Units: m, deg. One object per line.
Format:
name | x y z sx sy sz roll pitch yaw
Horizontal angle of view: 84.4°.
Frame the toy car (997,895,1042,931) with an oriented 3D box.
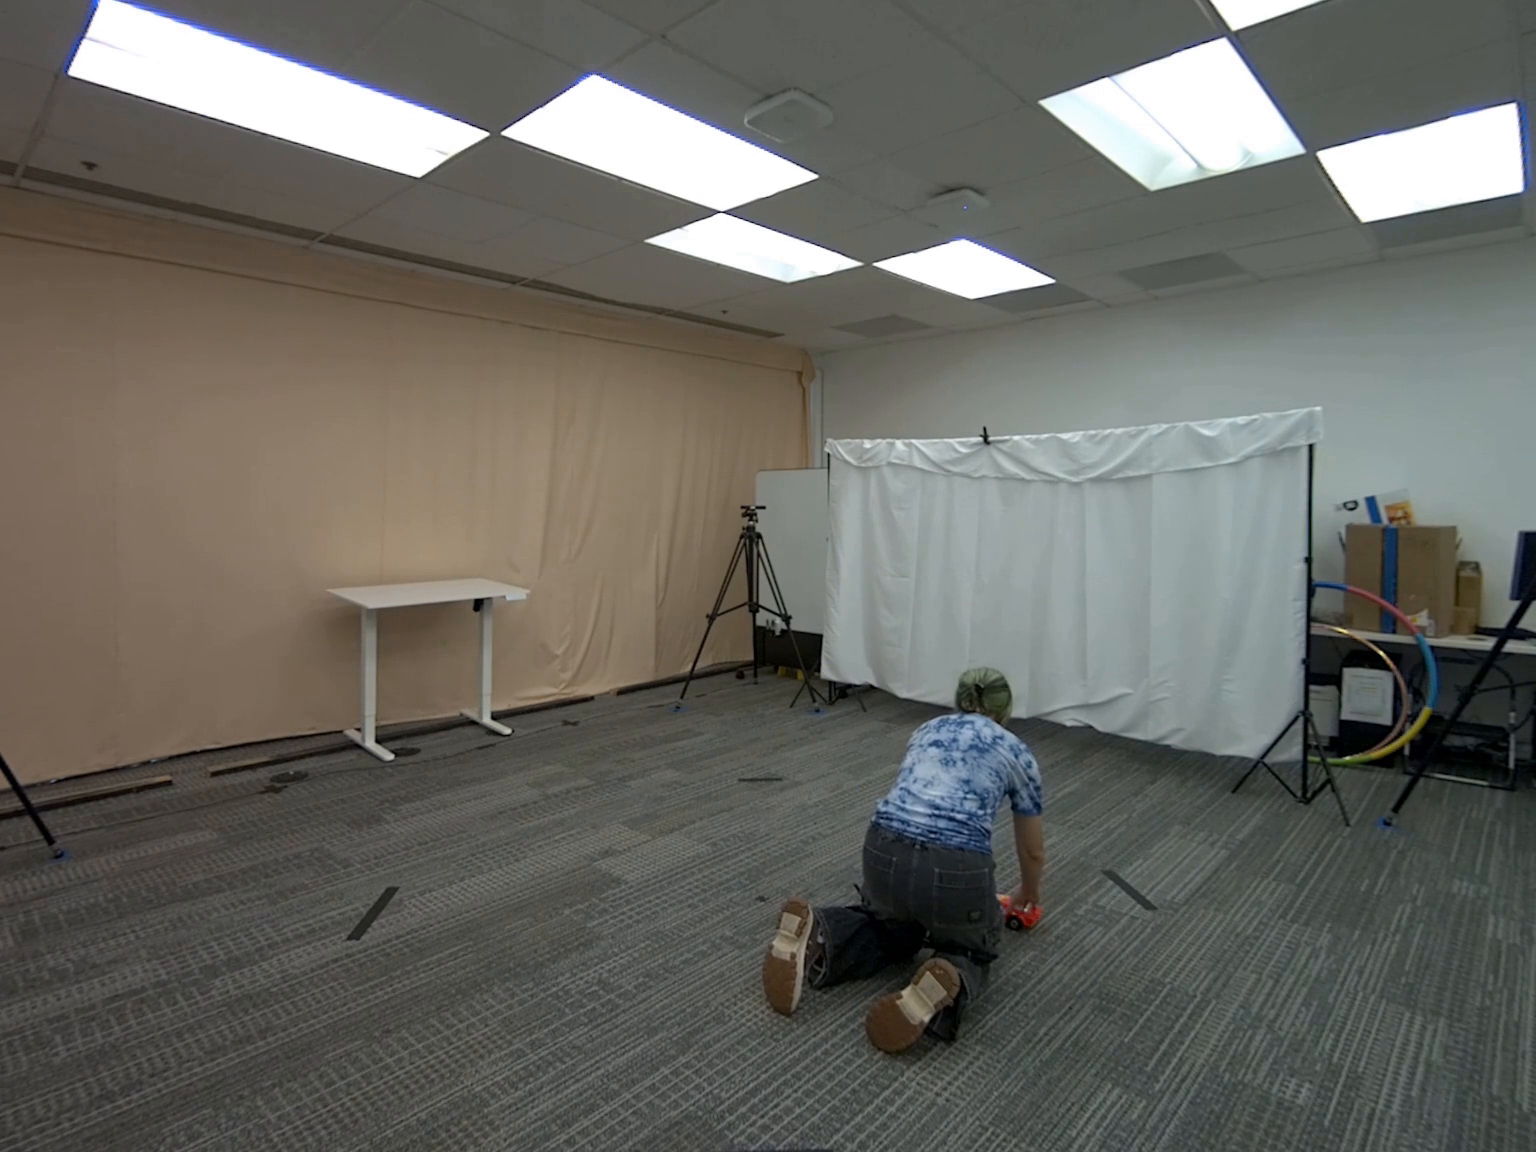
toy car | 0.796 1.131 2.821 0.261 0.083 0.127 -8 -1 29
